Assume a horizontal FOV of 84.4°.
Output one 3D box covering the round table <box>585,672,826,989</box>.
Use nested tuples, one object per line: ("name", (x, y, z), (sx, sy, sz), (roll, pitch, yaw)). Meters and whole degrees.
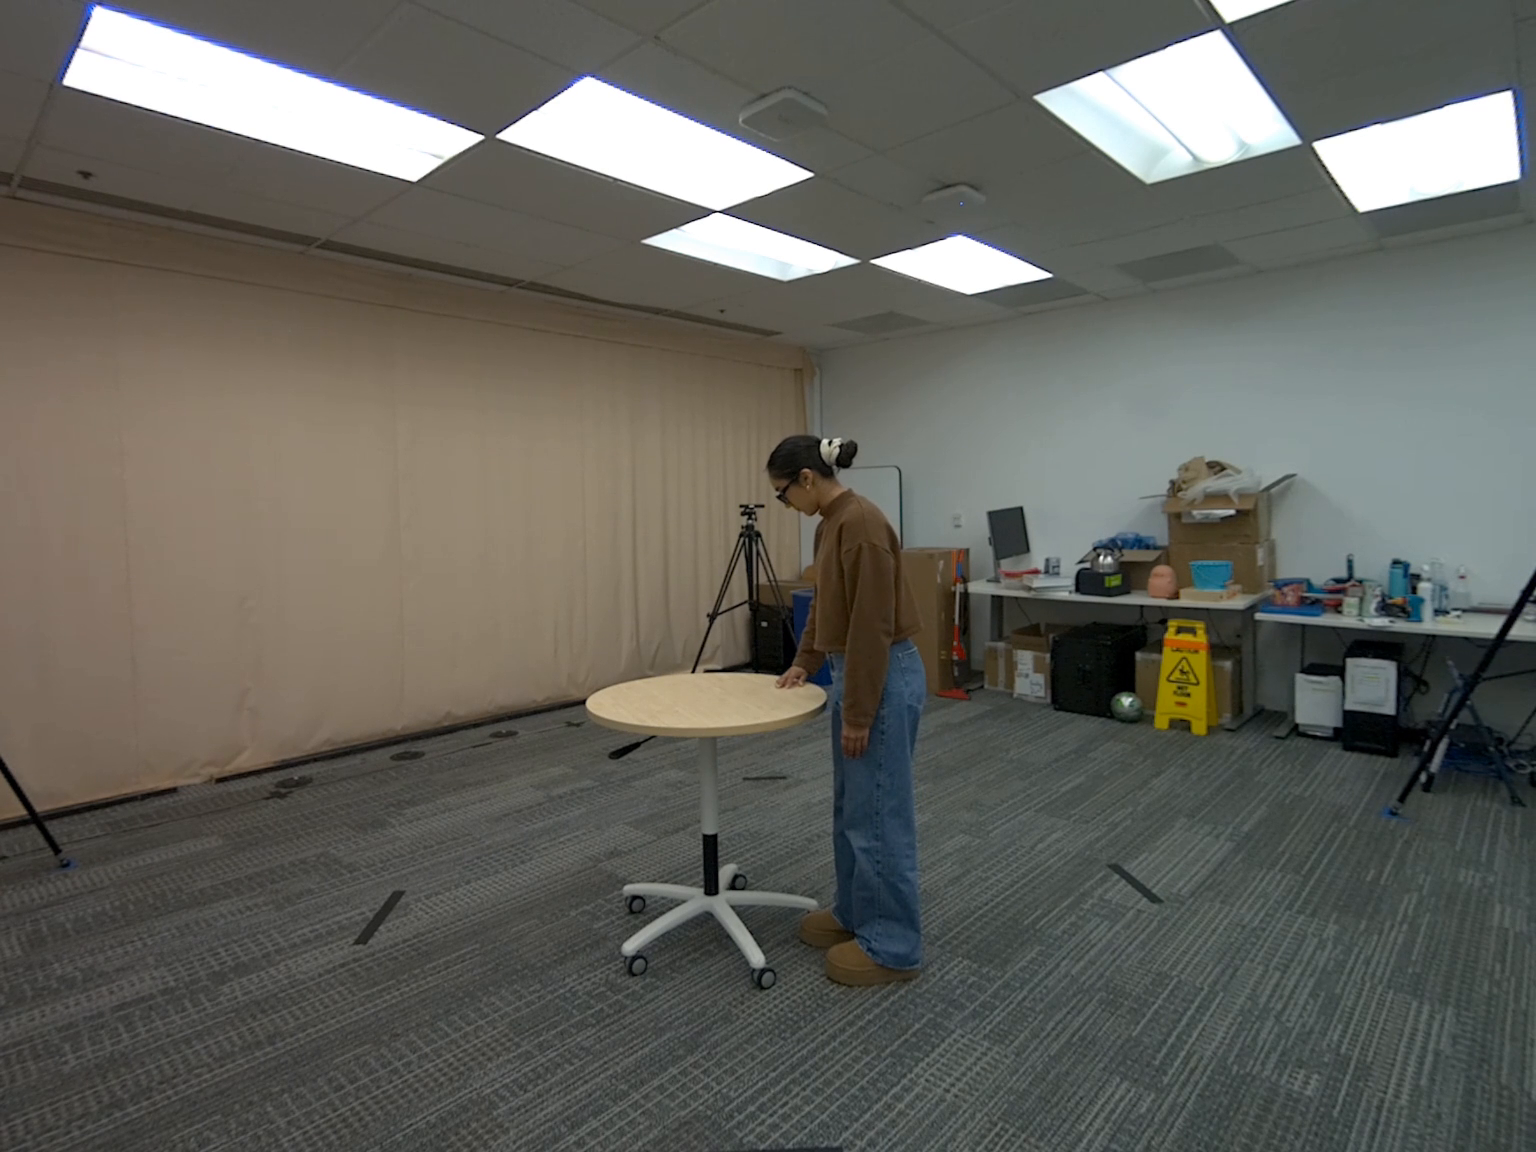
("round table", (-0.188, 0.780, 2.709), (0.763, 0.792, 0.766), (-2, 4, -2))
